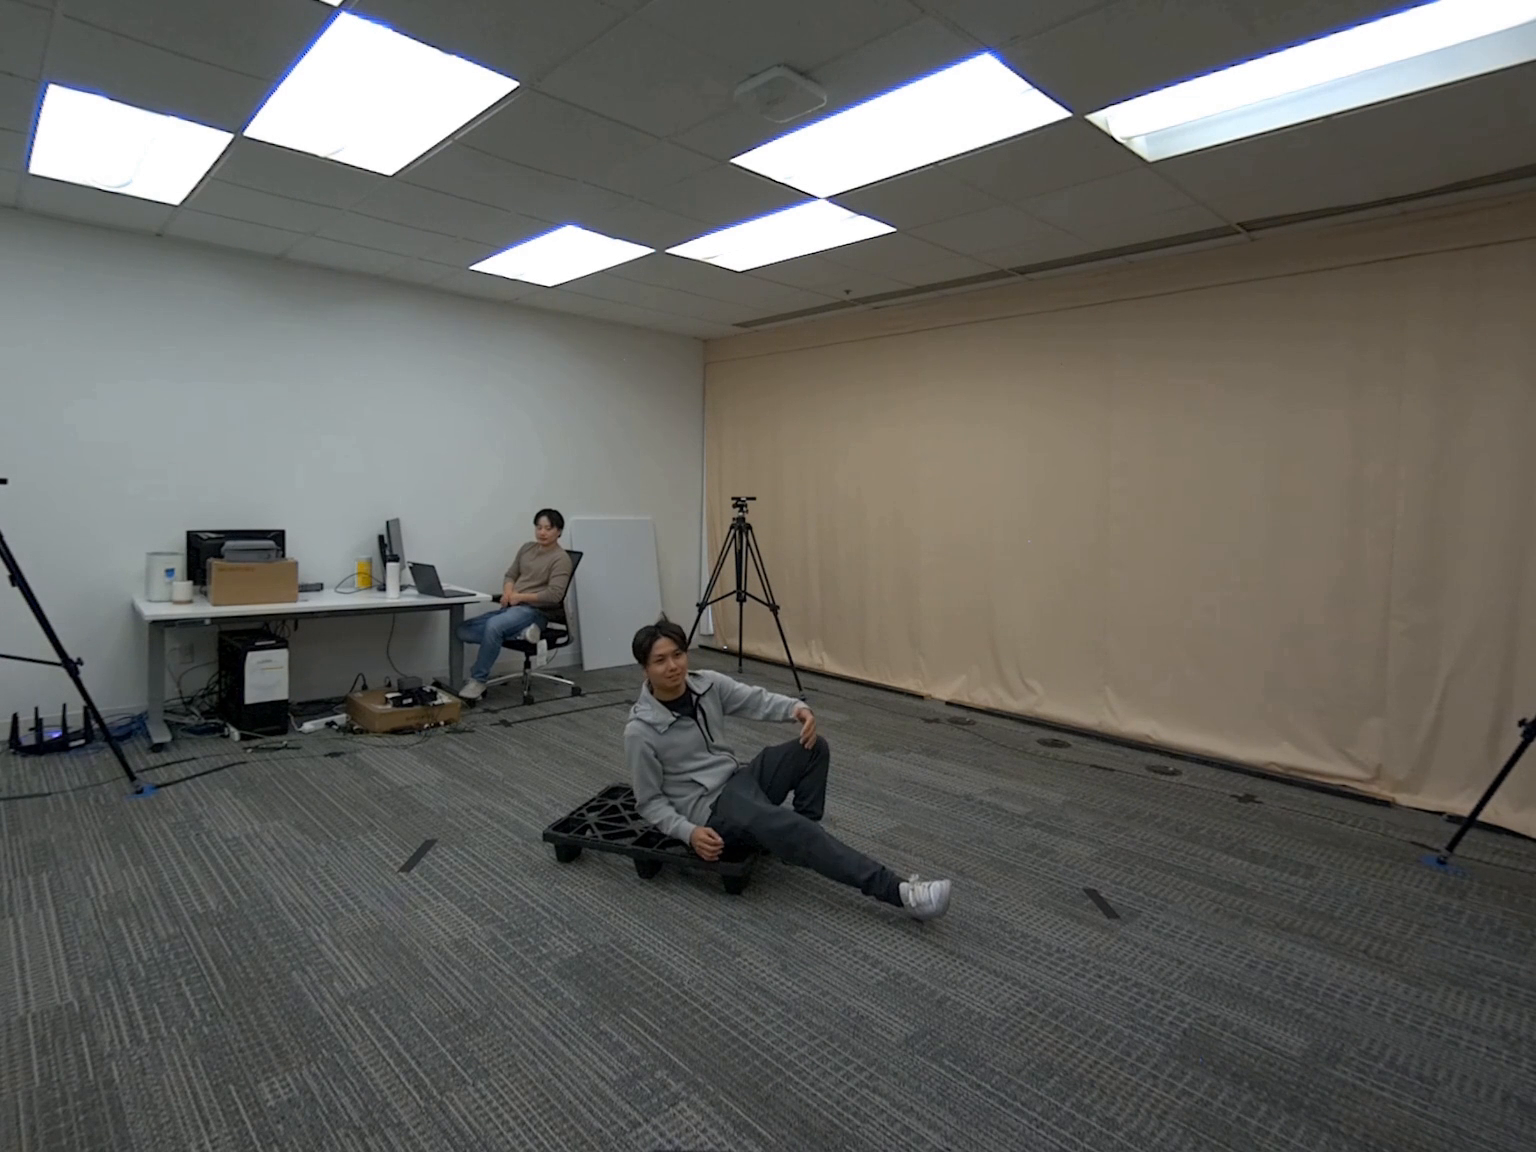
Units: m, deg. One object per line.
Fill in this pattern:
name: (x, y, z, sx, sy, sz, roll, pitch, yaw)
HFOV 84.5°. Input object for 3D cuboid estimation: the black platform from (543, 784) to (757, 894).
black platform: (-0.382, 1.012, 3.284, 0.818, 0.143, 0.598, 3, 6, 18)
